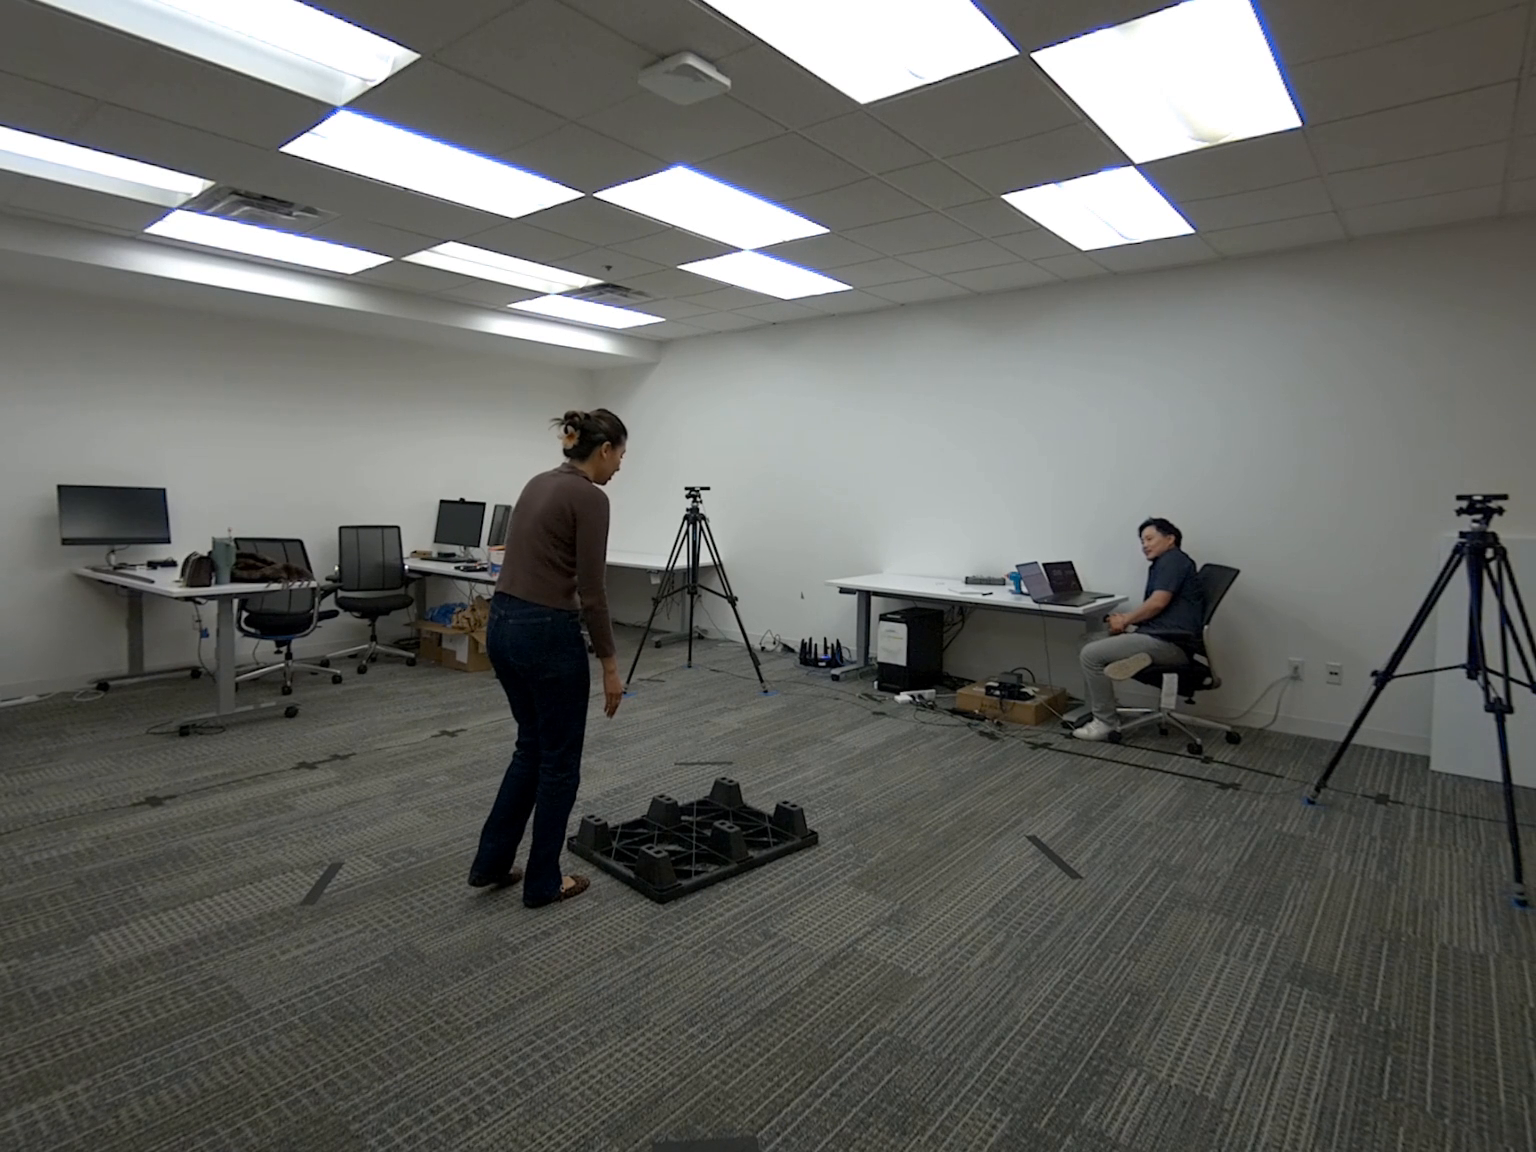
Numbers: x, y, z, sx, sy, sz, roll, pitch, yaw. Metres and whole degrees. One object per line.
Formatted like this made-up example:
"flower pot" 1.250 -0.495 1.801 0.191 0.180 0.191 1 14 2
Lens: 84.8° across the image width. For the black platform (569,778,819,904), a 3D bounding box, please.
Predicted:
"black platform" -0.294 0.977 3.294 0.782 0.143 0.626 -5 7 -44
